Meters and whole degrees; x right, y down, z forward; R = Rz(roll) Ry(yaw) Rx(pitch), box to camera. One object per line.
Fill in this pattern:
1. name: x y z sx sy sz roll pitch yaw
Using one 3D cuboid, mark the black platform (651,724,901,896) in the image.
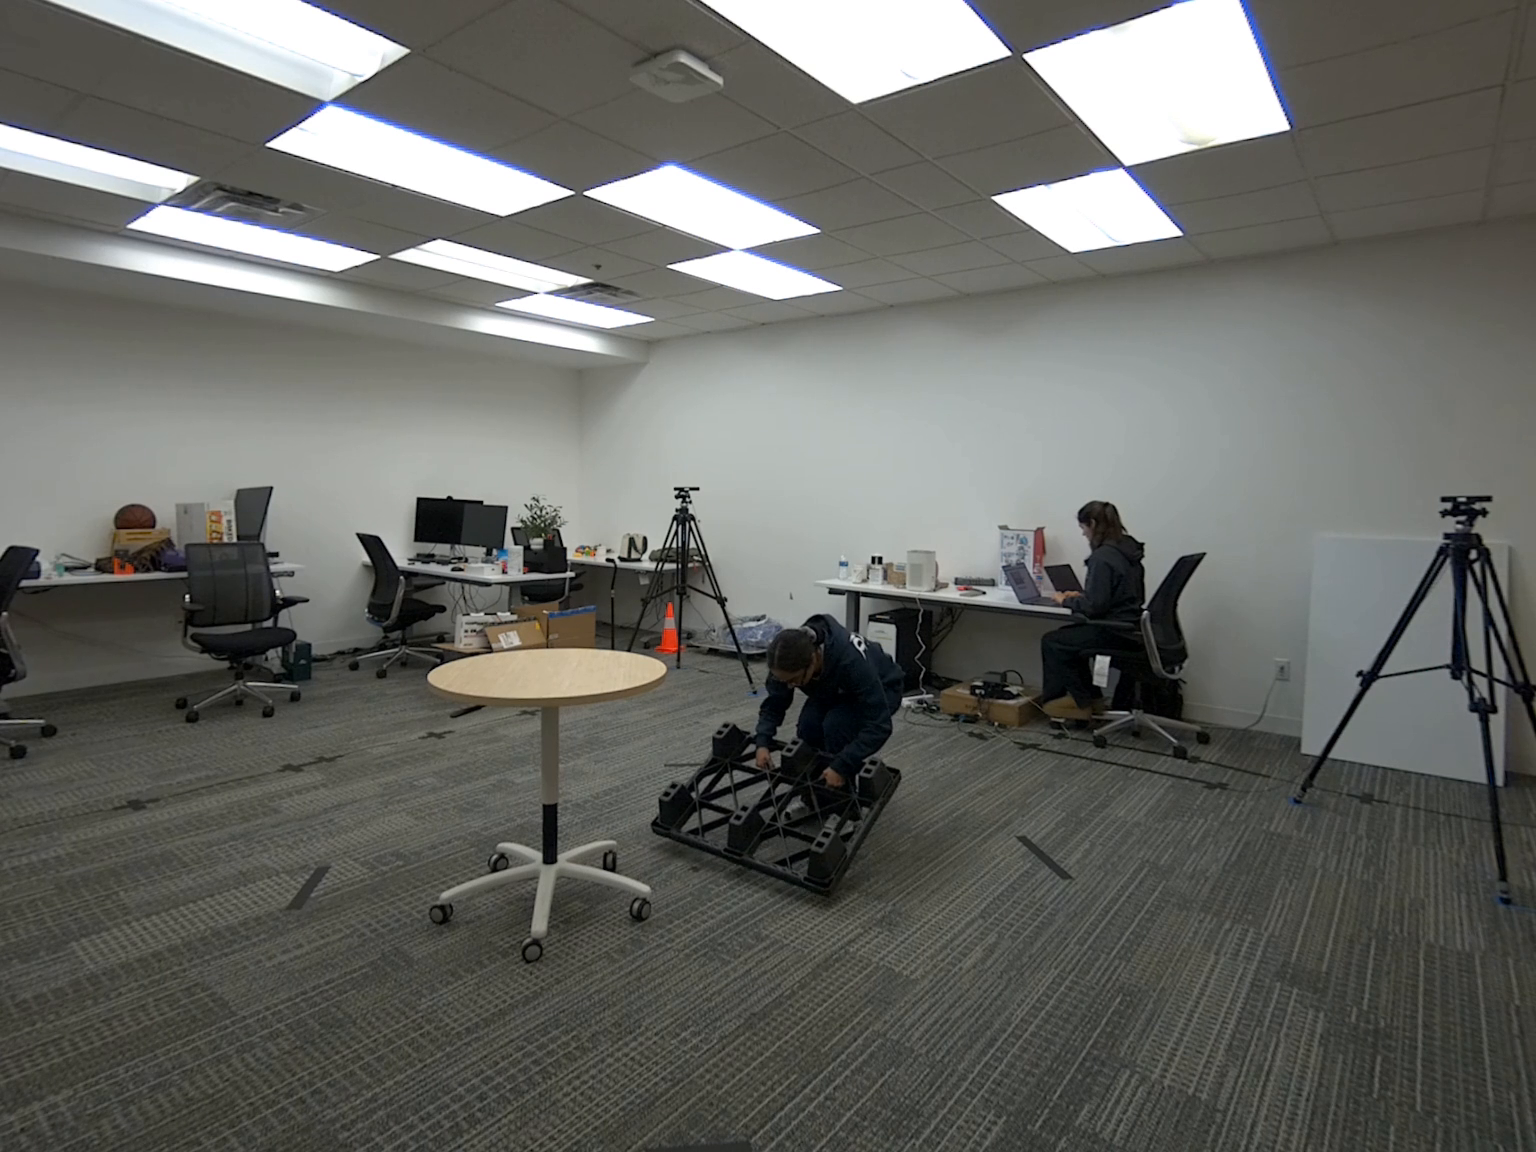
1. black platform: 0.002 0.819 3.238 0.832 0.139 0.603 6 34 35
